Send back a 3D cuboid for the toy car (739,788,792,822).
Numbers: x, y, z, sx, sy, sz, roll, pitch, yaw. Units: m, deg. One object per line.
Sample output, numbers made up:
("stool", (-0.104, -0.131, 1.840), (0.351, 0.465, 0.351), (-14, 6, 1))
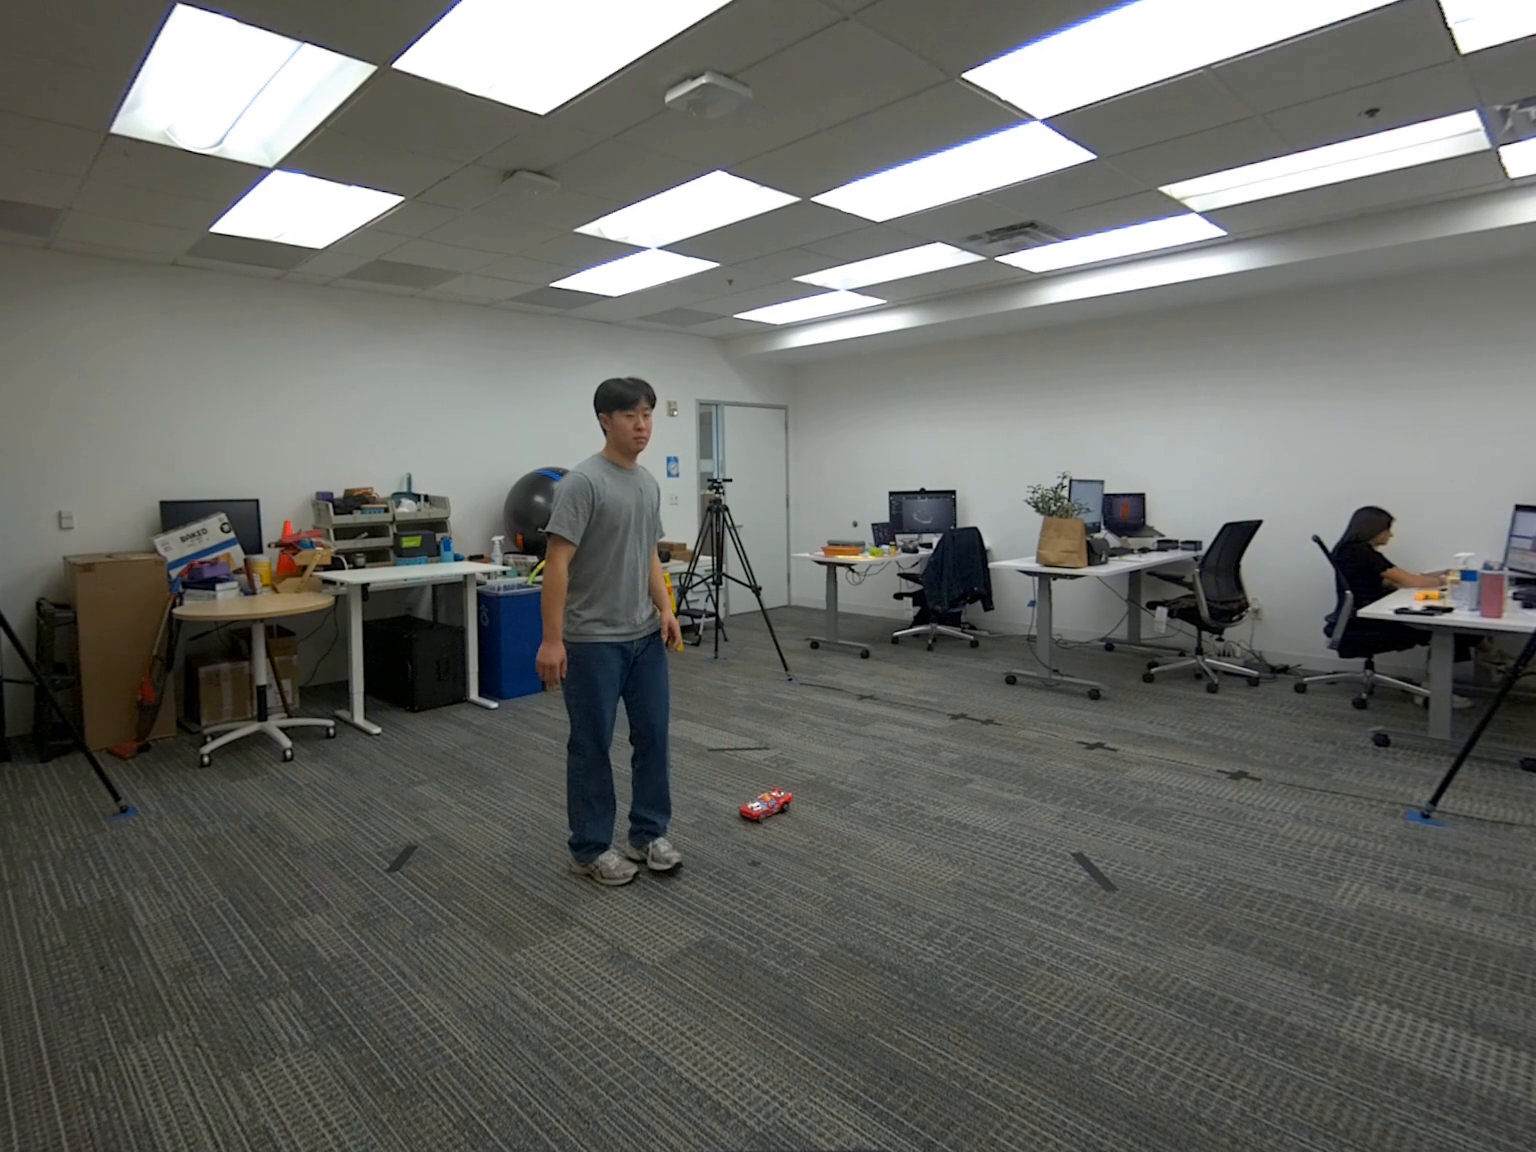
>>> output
("toy car", (0.003, 0.959, 3.573), (0.134, 0.082, 0.250), (5, 20, 43))
